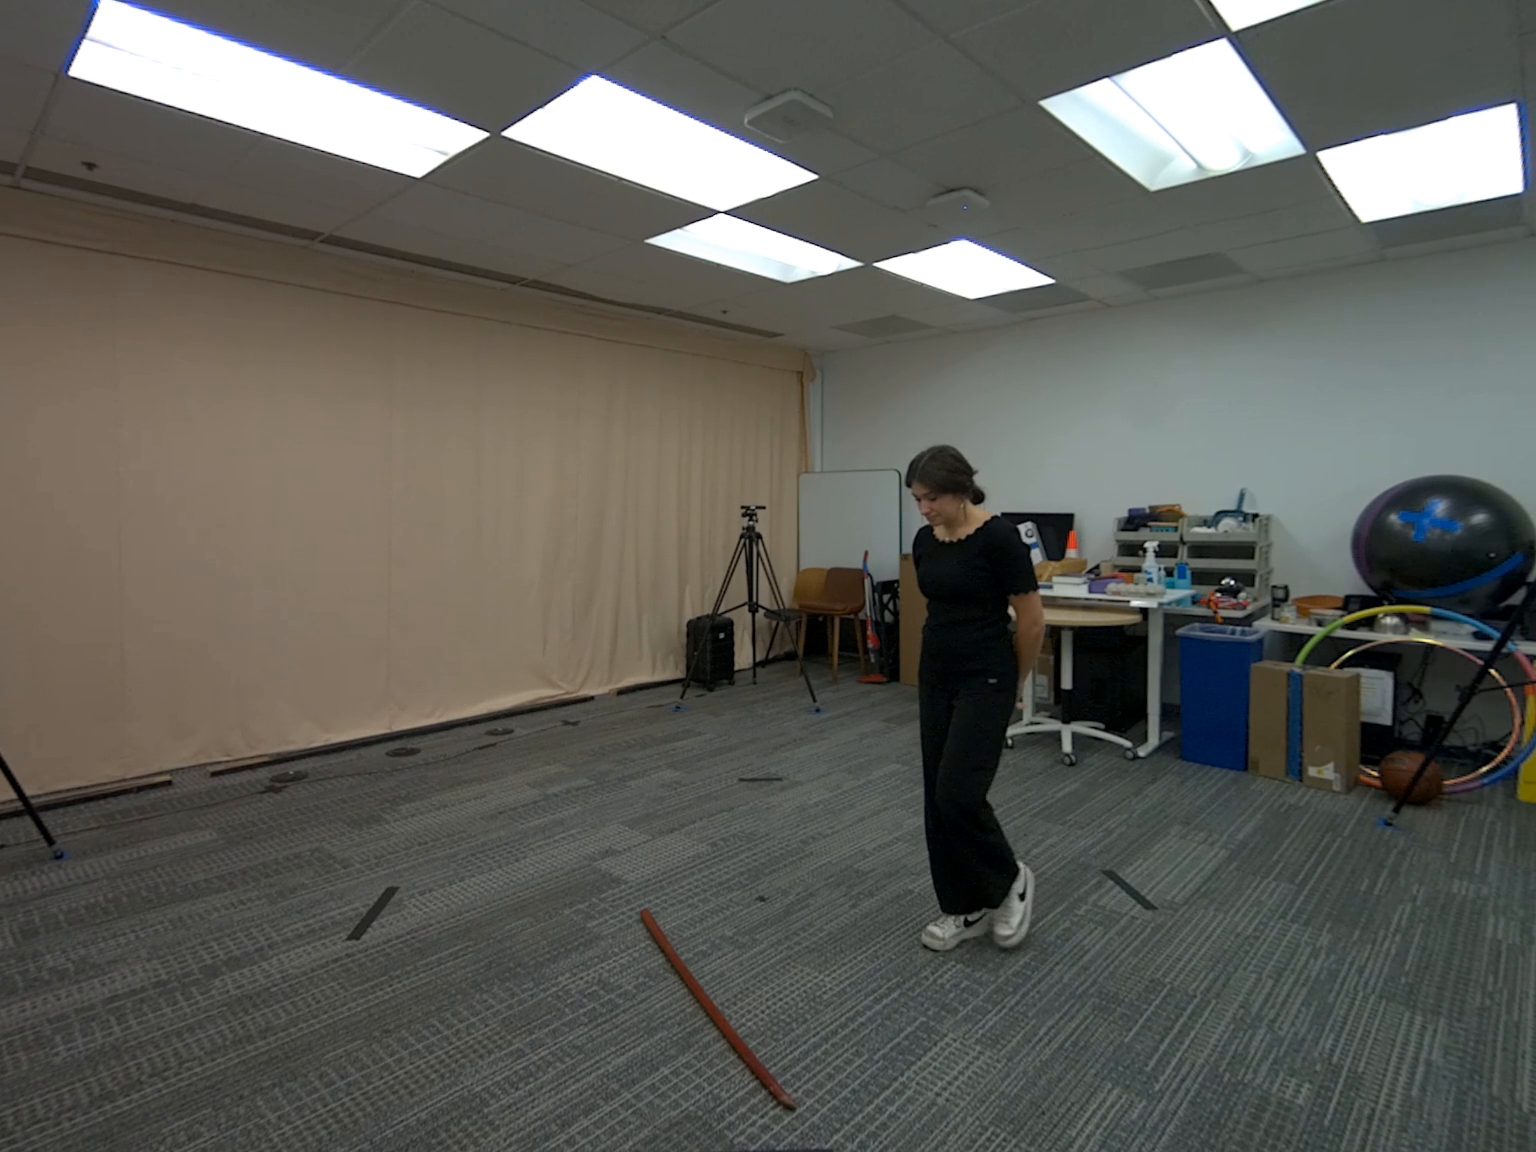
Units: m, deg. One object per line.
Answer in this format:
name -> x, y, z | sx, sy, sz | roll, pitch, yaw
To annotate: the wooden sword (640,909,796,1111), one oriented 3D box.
wooden sword -> -0.187, 1.173, 2.406 | 0.050, 0.024, 1.052 | -9, 8, -25
